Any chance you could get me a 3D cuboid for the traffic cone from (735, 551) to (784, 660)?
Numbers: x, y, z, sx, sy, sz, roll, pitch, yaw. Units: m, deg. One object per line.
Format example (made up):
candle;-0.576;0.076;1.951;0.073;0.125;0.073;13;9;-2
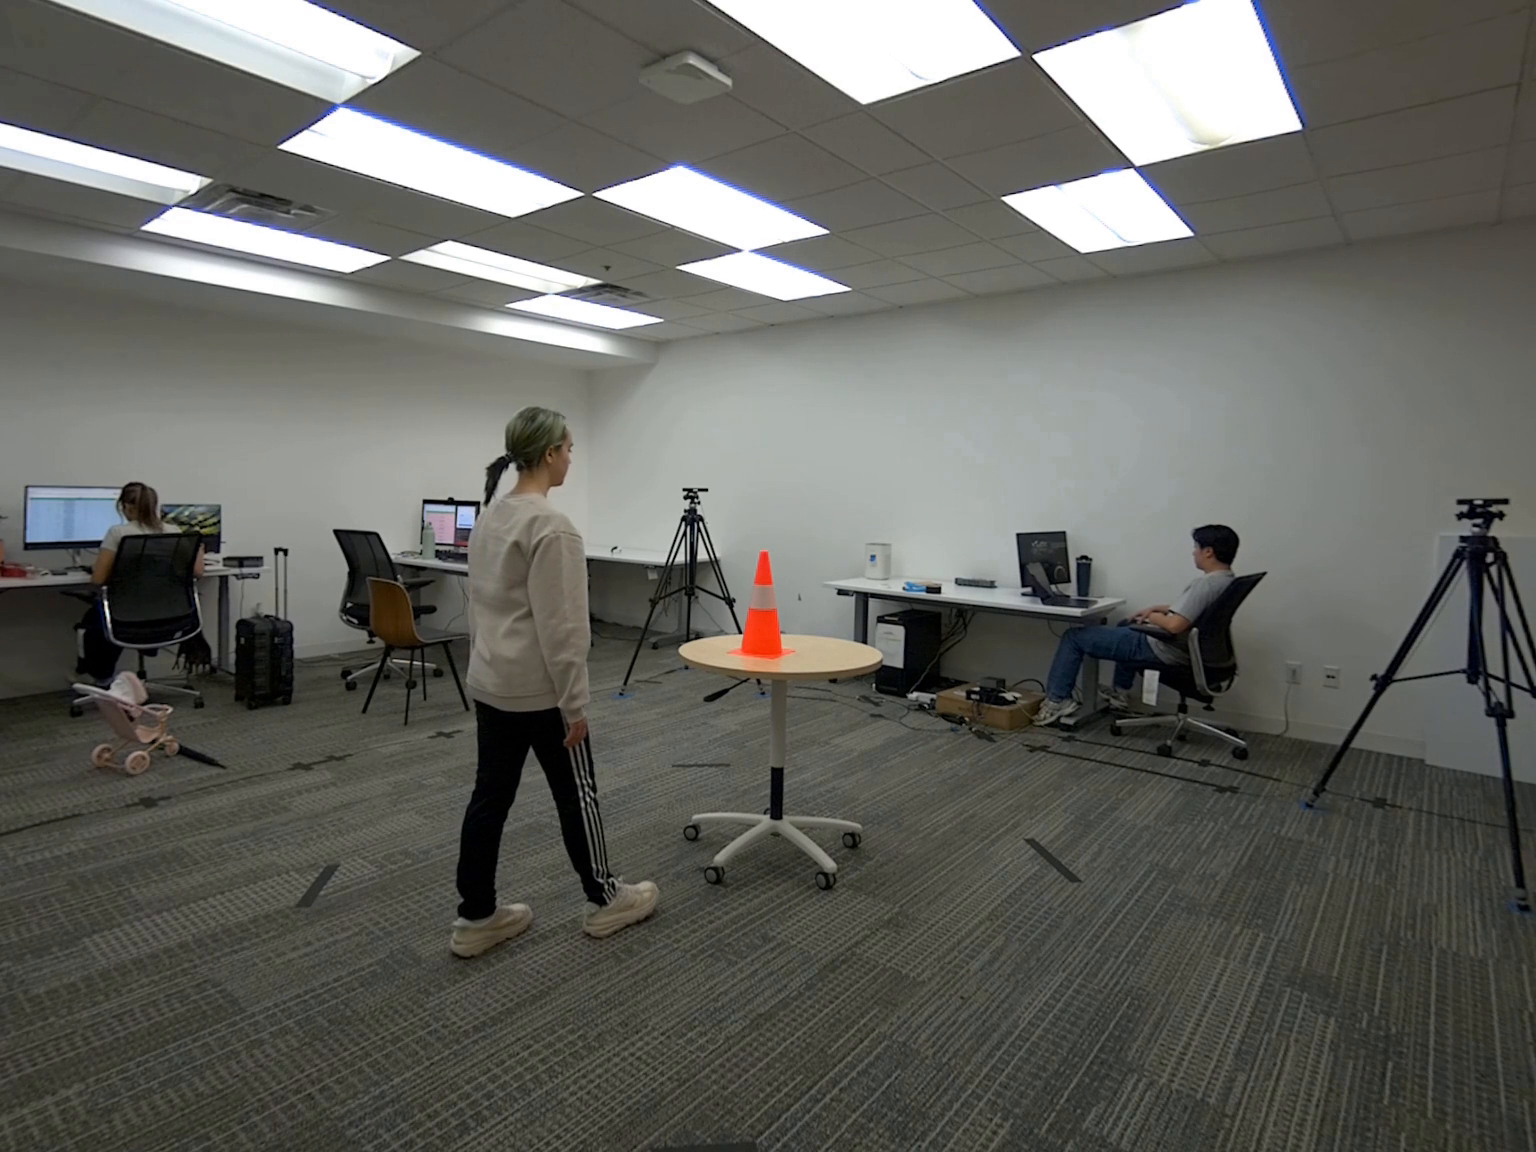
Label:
traffic cone;-0.027;0.097;3.181;0.211;0.382;0.198;4;5;29
